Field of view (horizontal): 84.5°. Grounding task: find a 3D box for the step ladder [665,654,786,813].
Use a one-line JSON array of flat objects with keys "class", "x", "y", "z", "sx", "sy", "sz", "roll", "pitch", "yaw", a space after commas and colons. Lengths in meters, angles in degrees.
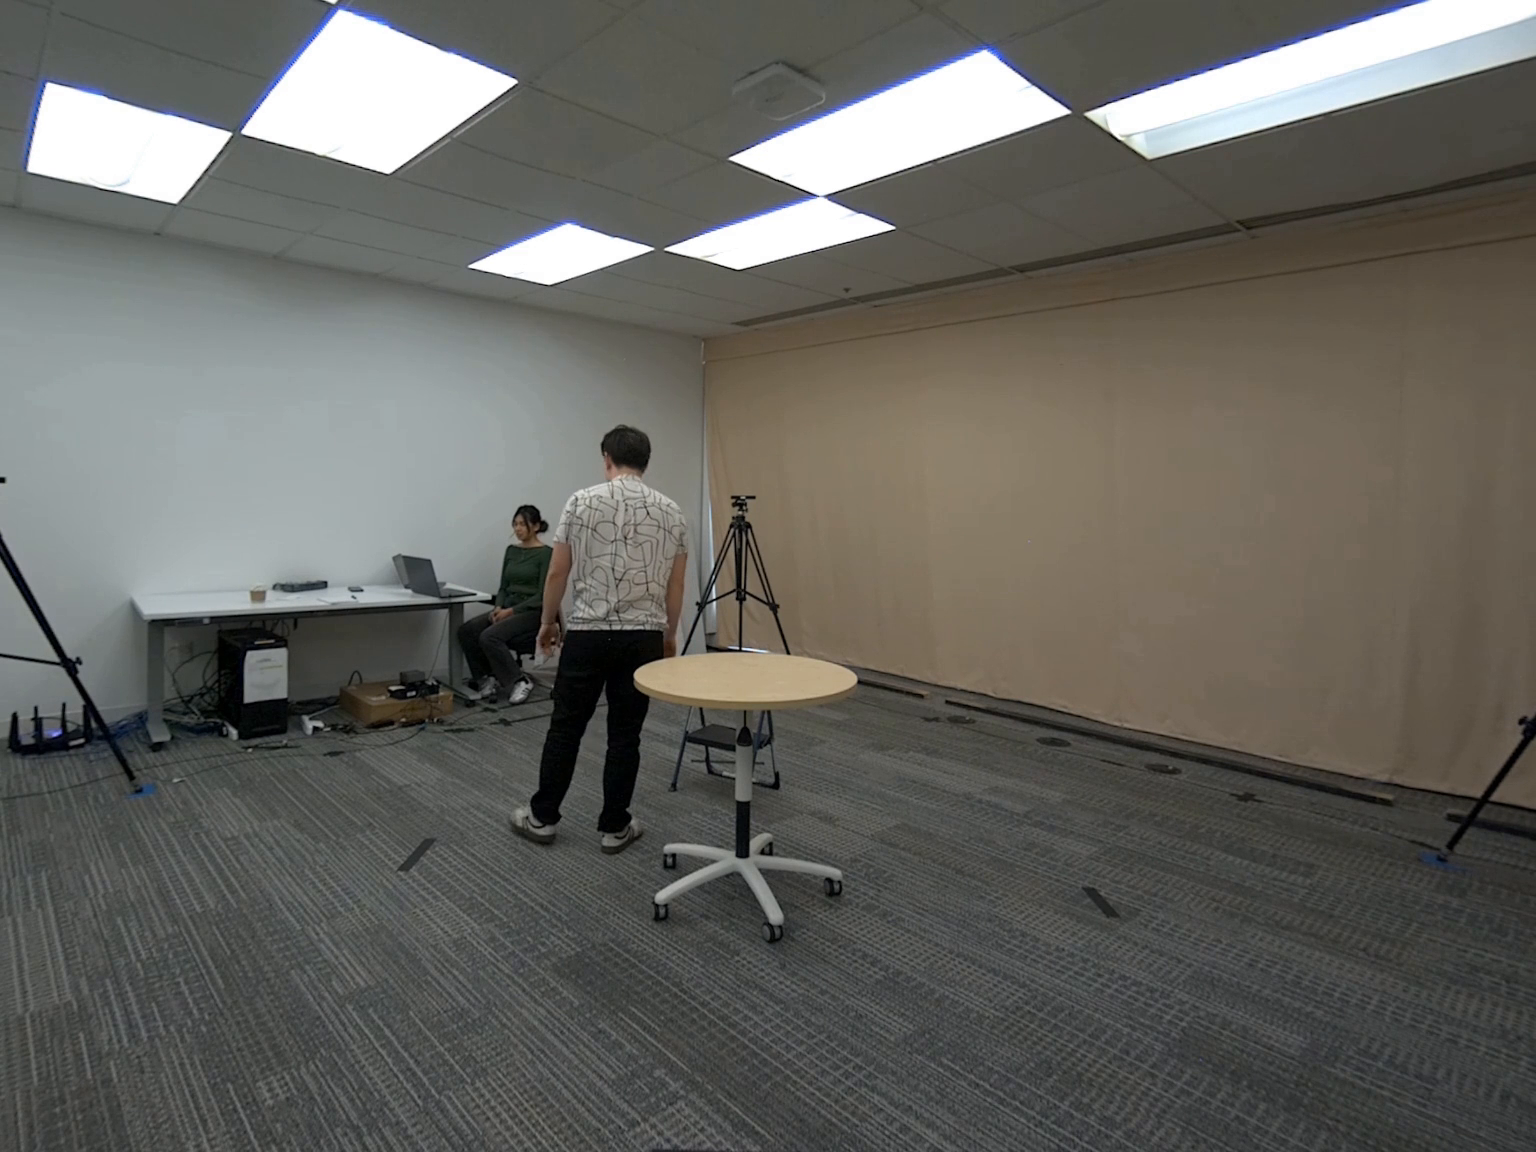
[{"class": "step ladder", "x": -0.202, "y": 0.720, "z": 4.005, "sx": 0.440, "sy": 0.605, "sz": 0.342, "roll": 4, "pitch": 3, "yaw": 31}]
